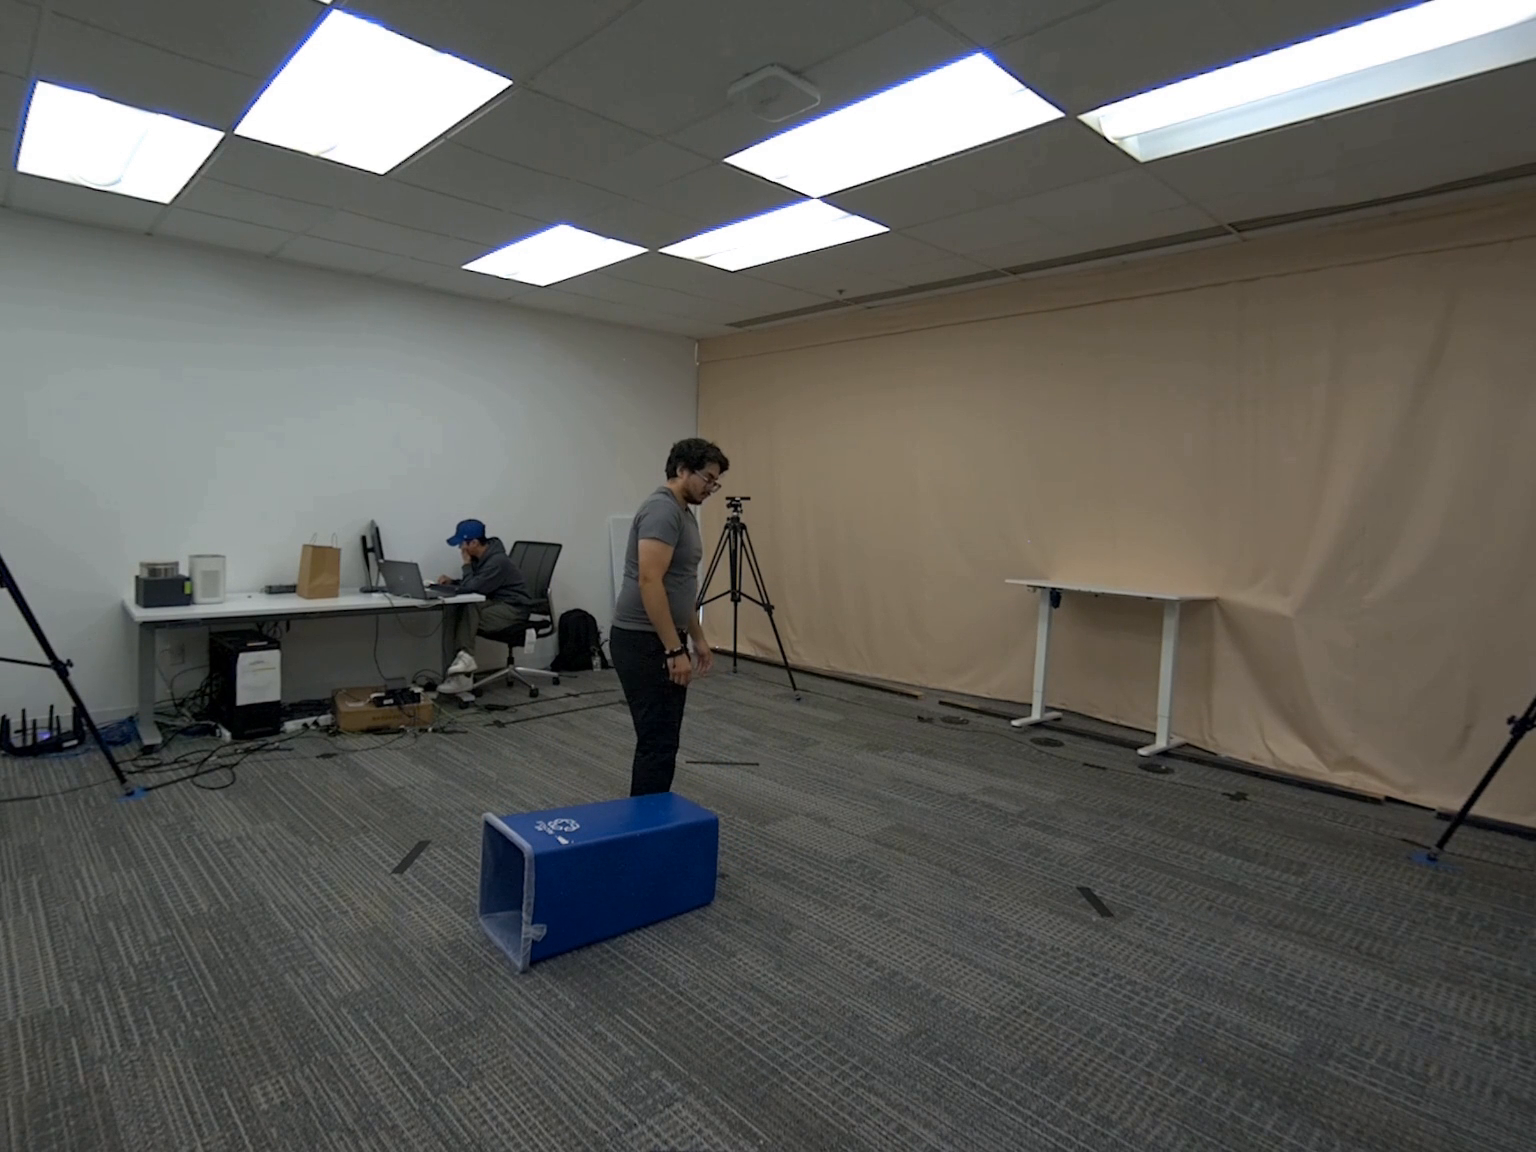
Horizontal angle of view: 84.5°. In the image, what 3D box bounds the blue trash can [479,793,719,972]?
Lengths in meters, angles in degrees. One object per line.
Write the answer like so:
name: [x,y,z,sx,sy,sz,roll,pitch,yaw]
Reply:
blue trash can: [-0.549,0.949,2.781,0.697,0.373,0.387,0,3,-39]
